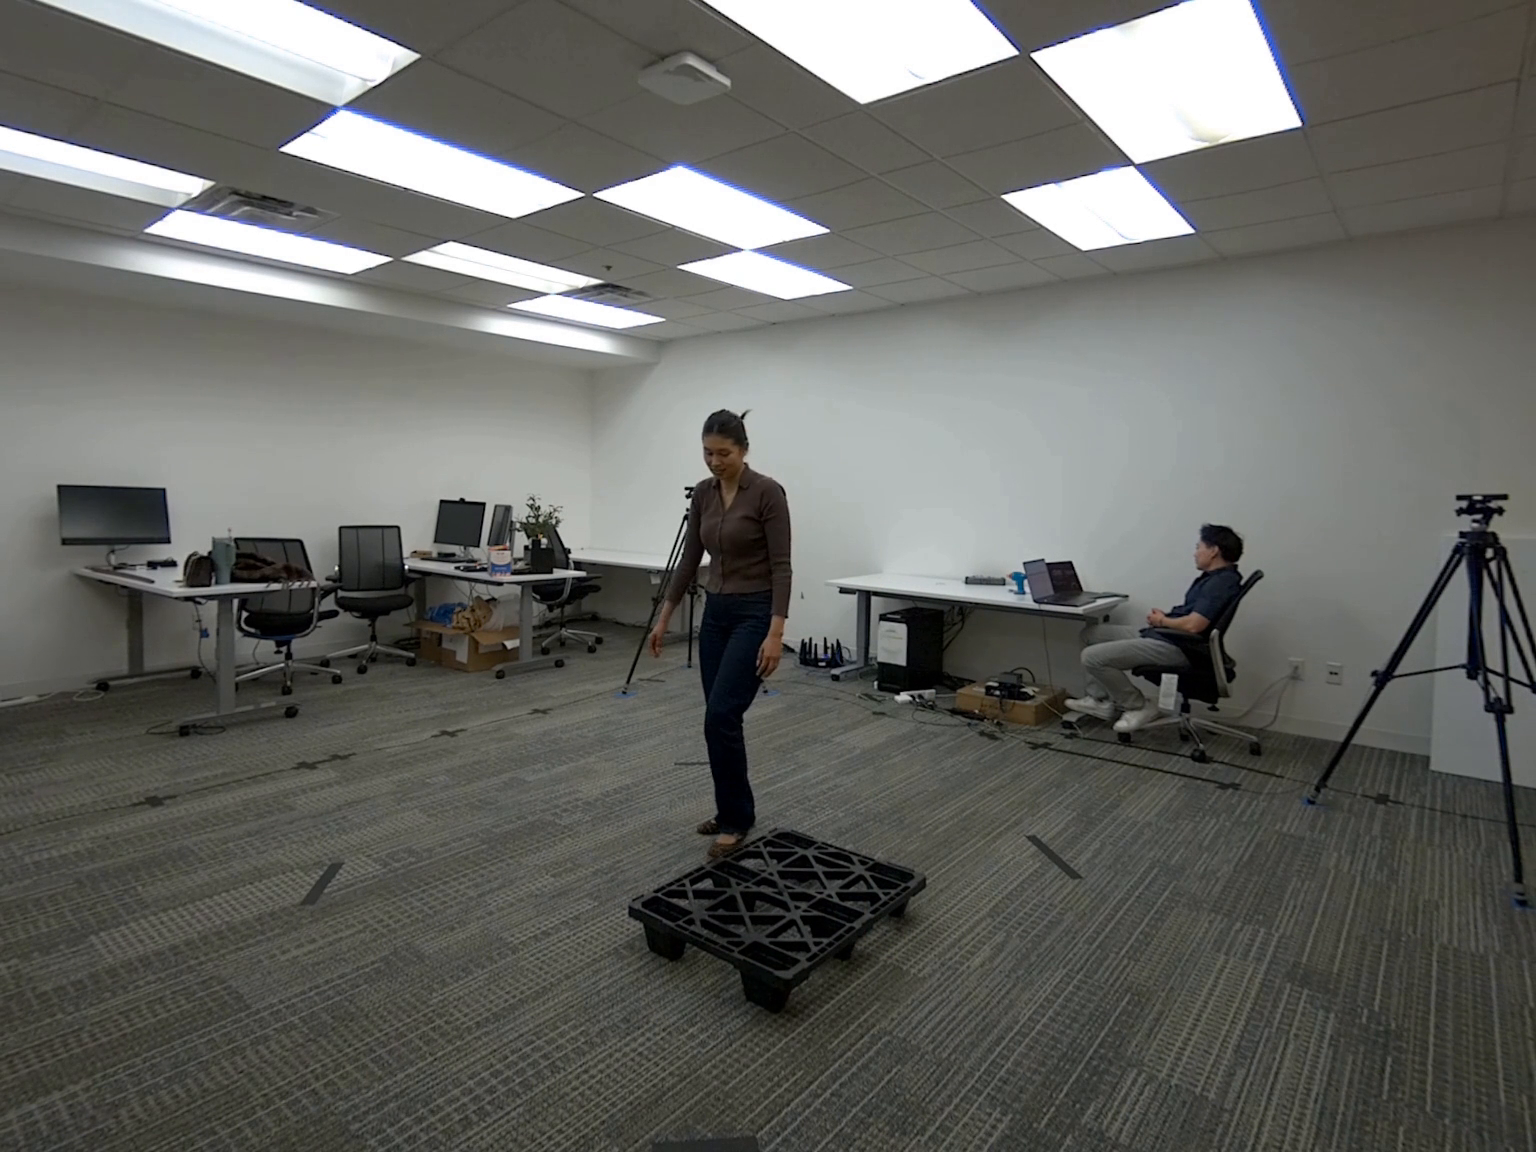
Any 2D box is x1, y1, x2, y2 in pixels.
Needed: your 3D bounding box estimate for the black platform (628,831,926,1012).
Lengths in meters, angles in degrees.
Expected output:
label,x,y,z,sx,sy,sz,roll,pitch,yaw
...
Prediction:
label,x,y,z,sx,sy,sz,roll,pitch,yaw
black platform,0.035,1.047,2.676,0.625,0.143,0.782,5,7,38
